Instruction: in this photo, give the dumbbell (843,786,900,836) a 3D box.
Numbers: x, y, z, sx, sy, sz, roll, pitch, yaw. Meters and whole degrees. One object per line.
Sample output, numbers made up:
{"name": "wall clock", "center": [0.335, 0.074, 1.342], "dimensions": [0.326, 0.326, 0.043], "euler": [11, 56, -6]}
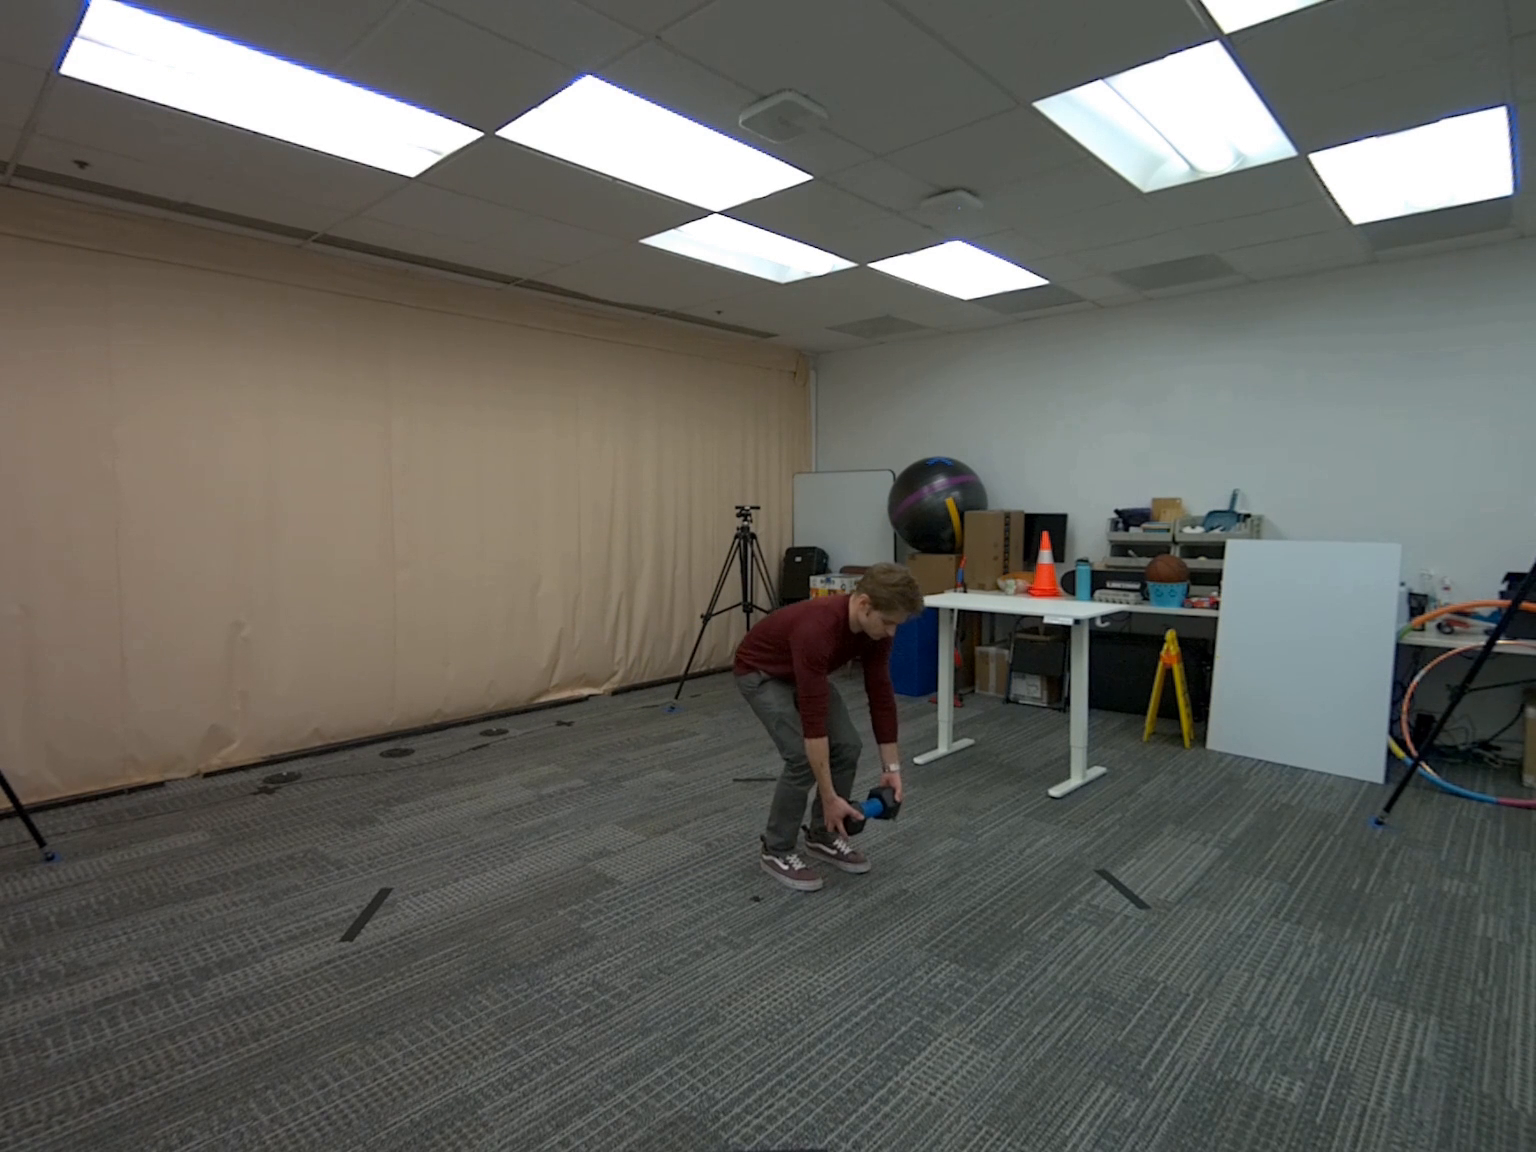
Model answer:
{"name": "dumbbell", "center": [0.351, 0.839, 3.033], "dimensions": [0.284, 0.122, 0.113], "euler": [-5, 27, -46]}
